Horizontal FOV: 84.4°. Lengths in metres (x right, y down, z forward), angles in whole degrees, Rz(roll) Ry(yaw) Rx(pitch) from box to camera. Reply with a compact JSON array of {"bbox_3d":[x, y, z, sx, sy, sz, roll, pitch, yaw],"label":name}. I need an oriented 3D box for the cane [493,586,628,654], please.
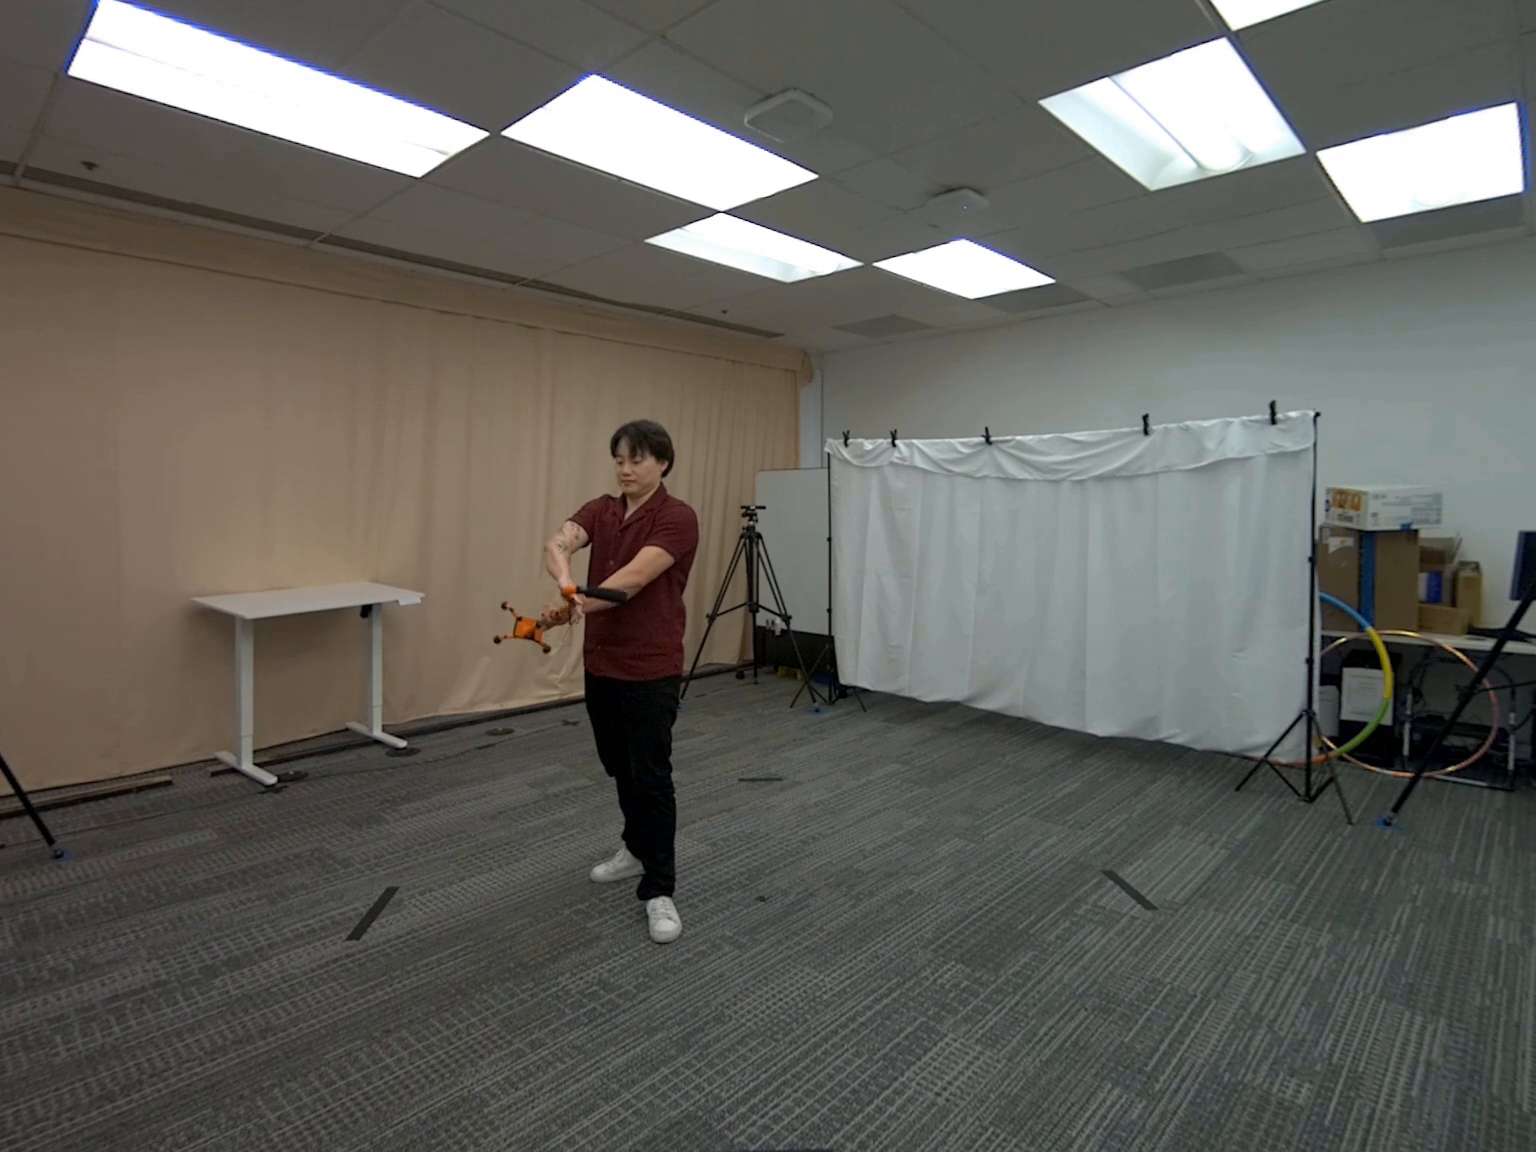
[{"bbox_3d":[-0.658,0.116,2.597,0.201,0.153,0.926,13,-15,-27],"label":"cane"}]
